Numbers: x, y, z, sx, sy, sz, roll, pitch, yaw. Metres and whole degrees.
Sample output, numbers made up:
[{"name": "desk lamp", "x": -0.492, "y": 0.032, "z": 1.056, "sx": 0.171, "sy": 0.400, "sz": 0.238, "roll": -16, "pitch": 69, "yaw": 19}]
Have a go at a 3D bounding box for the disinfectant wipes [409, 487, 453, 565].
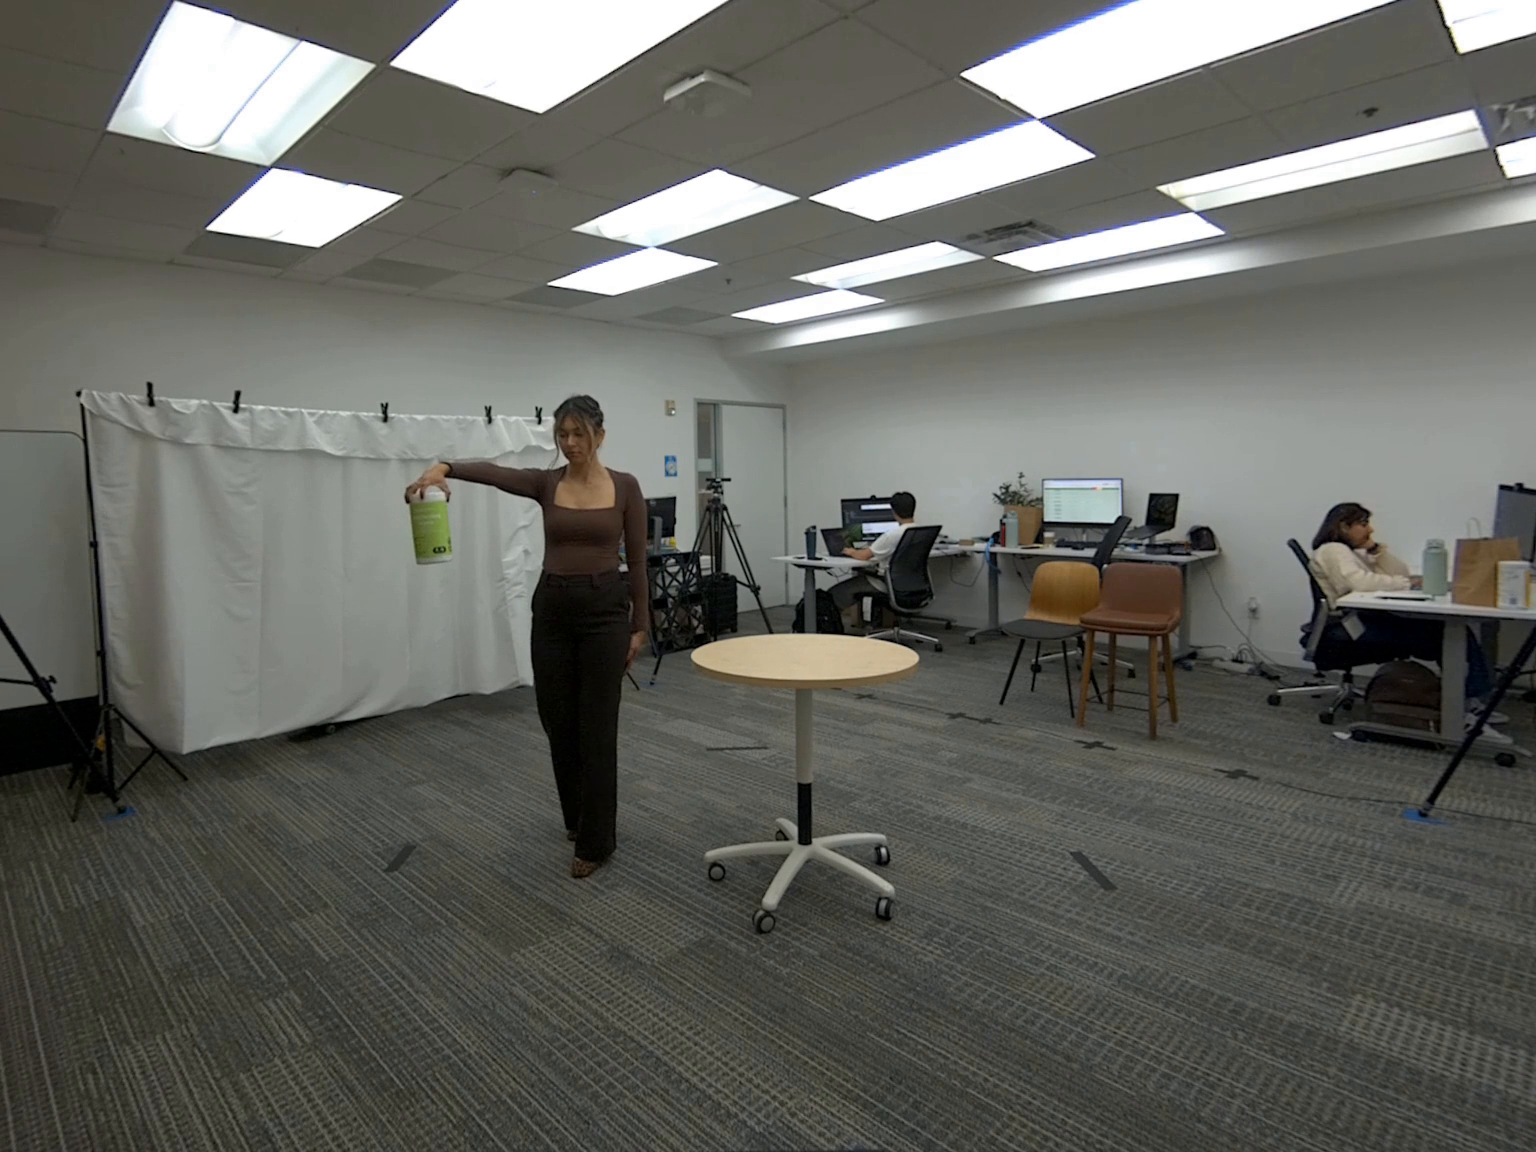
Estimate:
[{"name": "disinfectant wipes", "x": -1.034, "y": -0.145, "z": 2.618, "sx": 0.118, "sy": 0.217, "sz": 0.118, "roll": -4, "pitch": 4, "yaw": -1}]
